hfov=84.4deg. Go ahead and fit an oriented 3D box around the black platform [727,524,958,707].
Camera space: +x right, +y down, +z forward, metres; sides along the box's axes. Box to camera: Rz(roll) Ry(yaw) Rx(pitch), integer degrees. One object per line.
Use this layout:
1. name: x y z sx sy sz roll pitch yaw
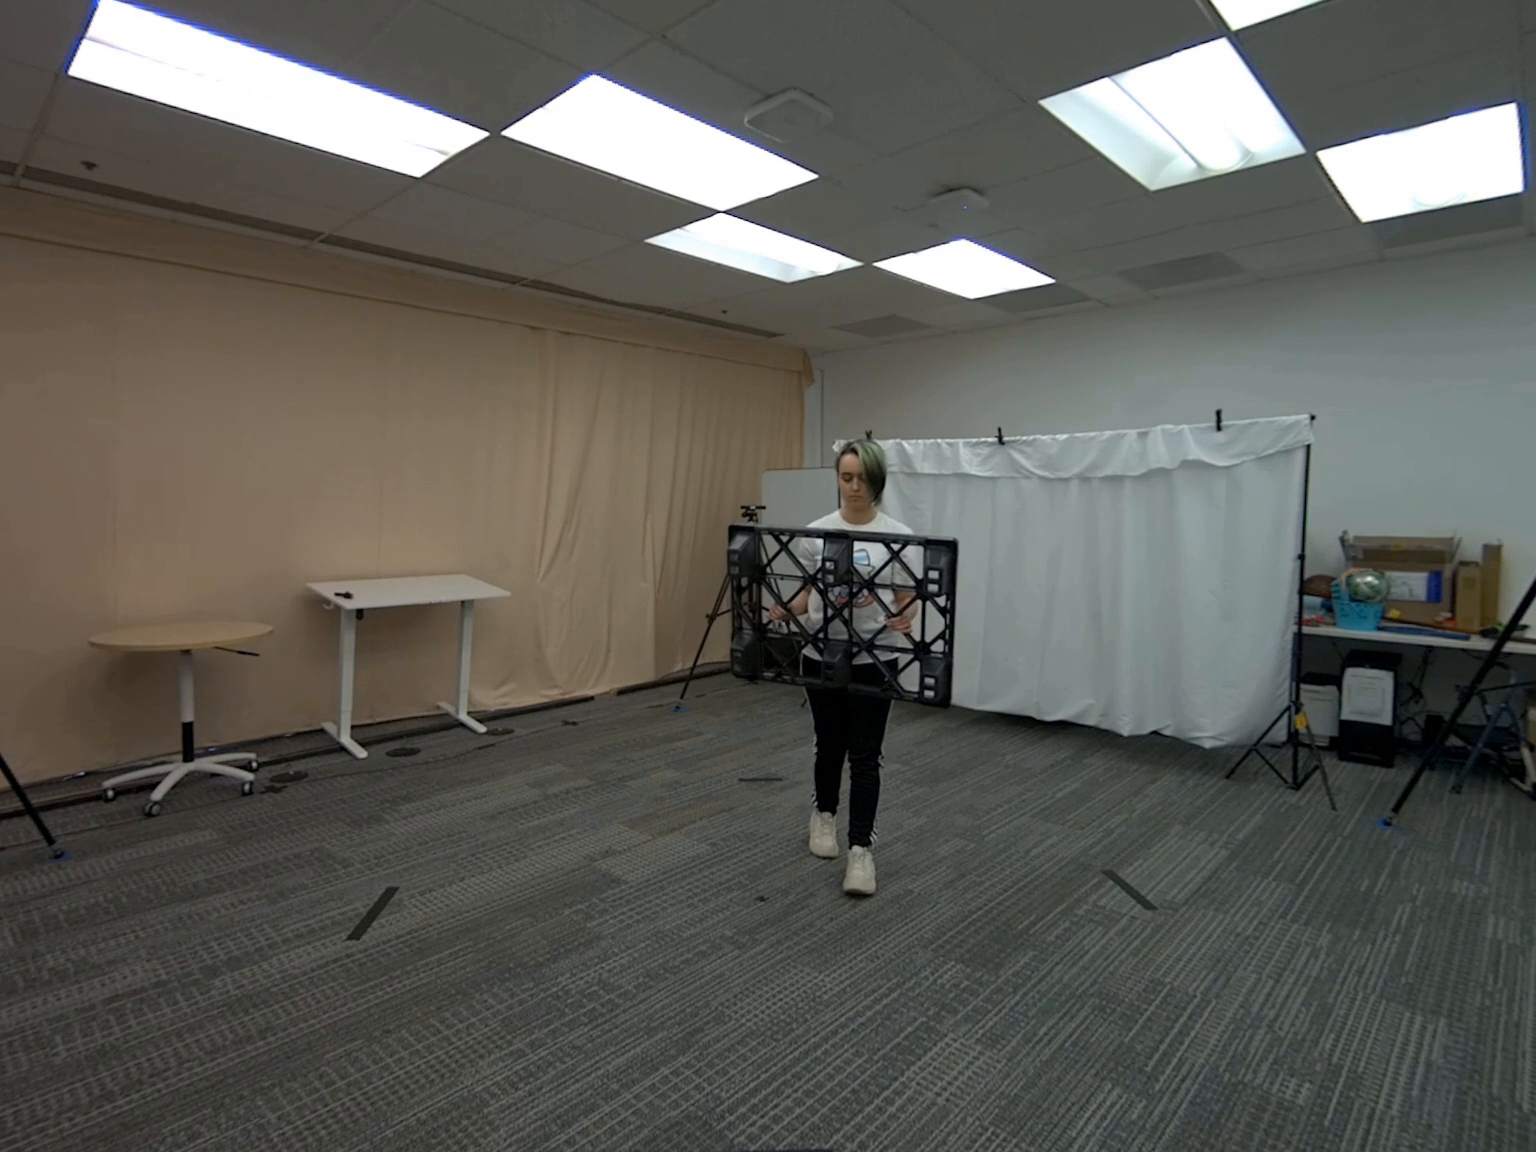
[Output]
1. black platform: 0.228 0.147 2.918 0.824 0.599 0.141 5 16 21
